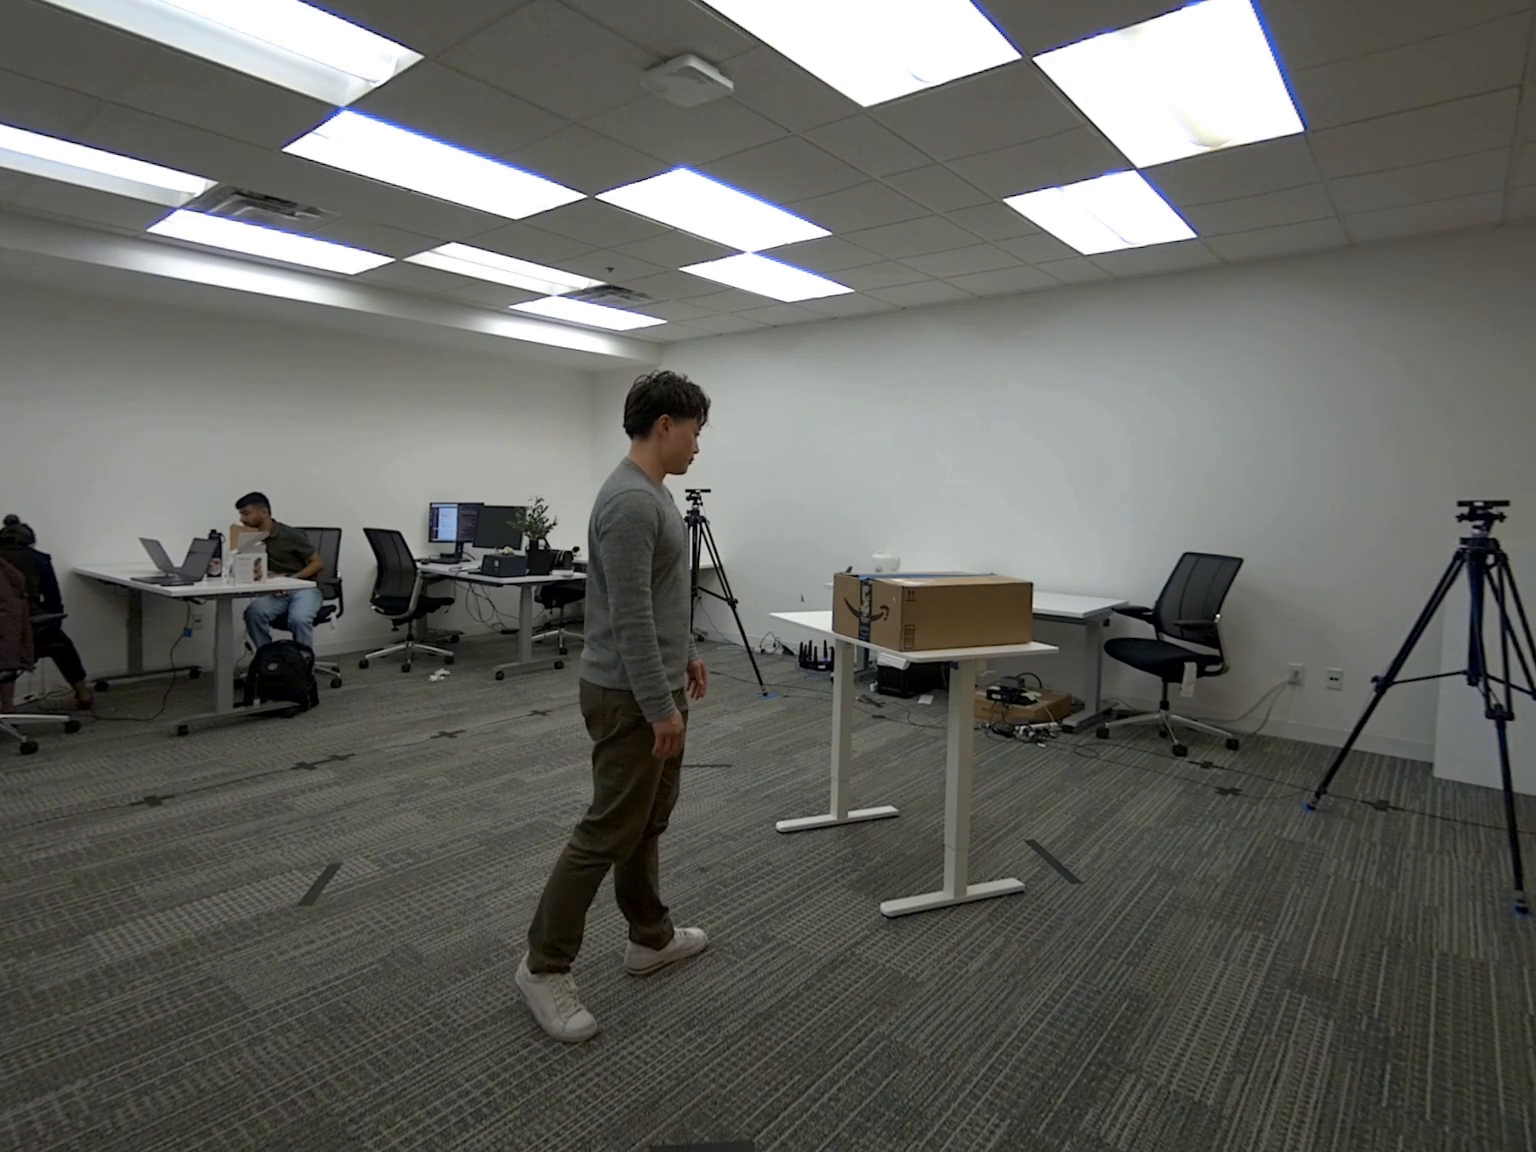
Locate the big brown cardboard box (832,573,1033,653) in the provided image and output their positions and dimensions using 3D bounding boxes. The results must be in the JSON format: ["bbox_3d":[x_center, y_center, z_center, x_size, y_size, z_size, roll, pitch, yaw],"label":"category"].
[{"bbox_3d":[0.569,0.109,3.026,0.574,0.232,0.429,0,5,-27],"label":"big brown cardboard box"}]
